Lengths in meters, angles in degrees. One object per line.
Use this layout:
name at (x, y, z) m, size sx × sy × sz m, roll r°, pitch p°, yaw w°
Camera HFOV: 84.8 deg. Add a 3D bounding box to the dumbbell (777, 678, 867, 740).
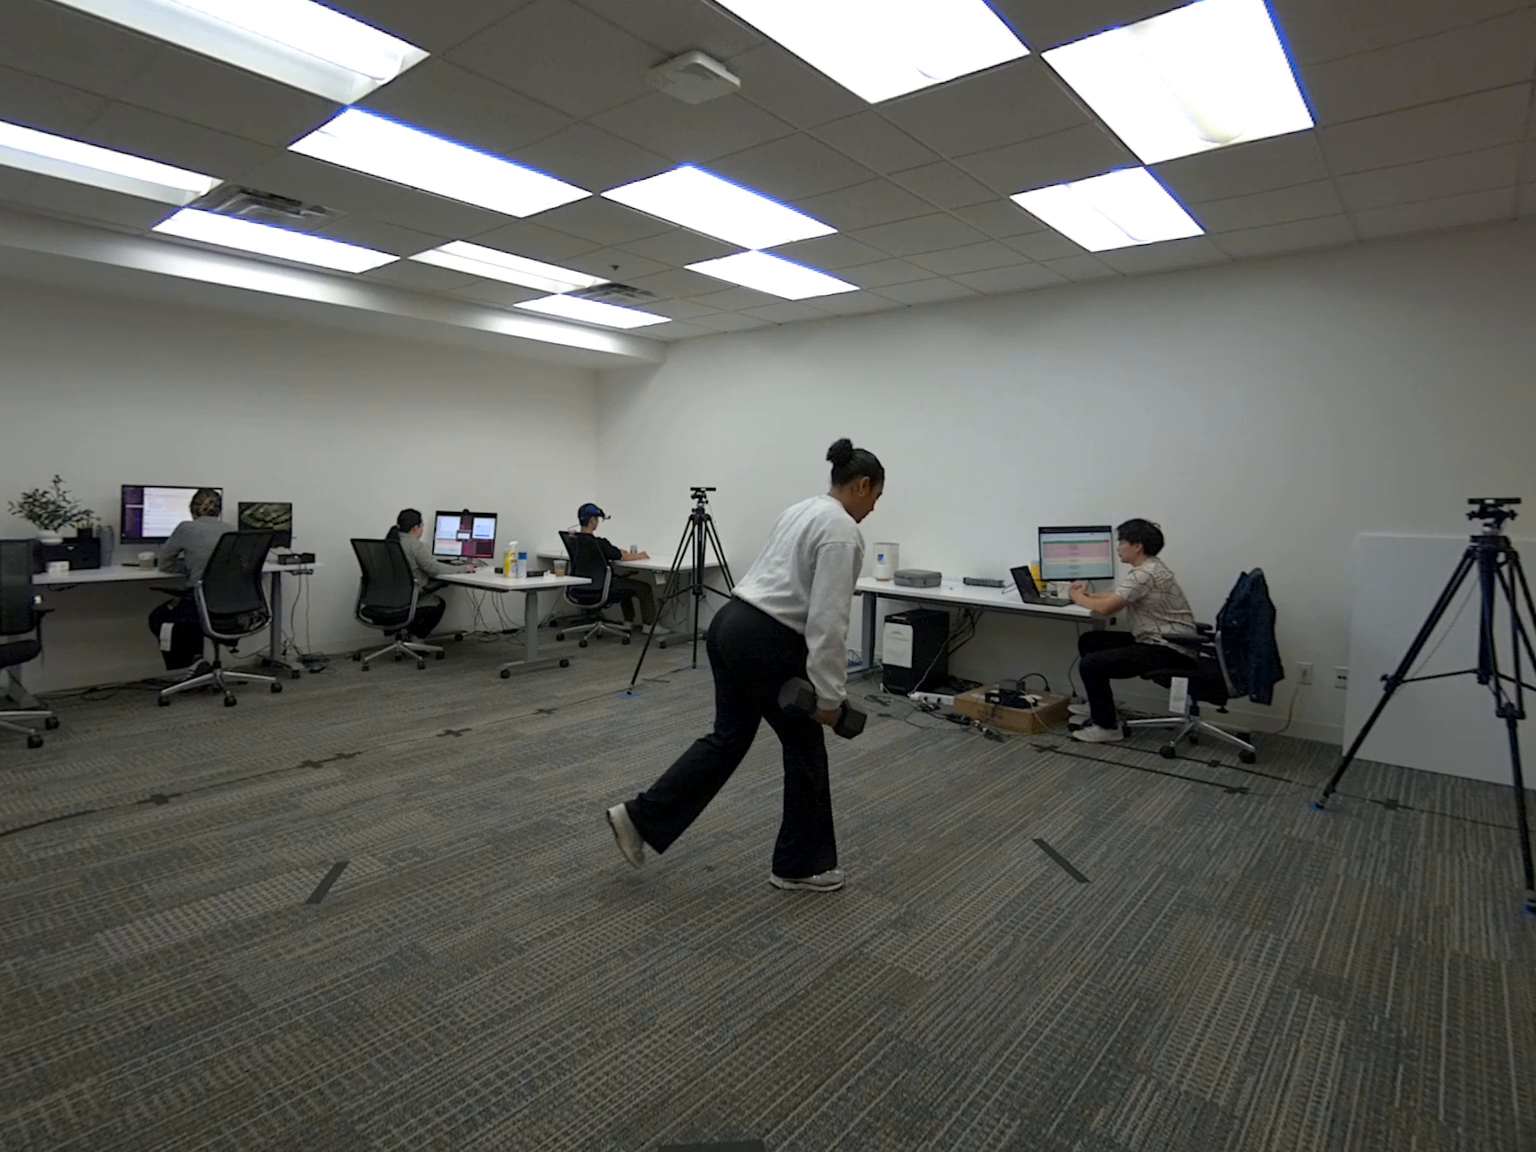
dumbbell at (0.174, 0.441, 2.764) m, size 0.286 × 0.124 × 0.111 m, roll 24°, pitch -14°, yaw -21°
